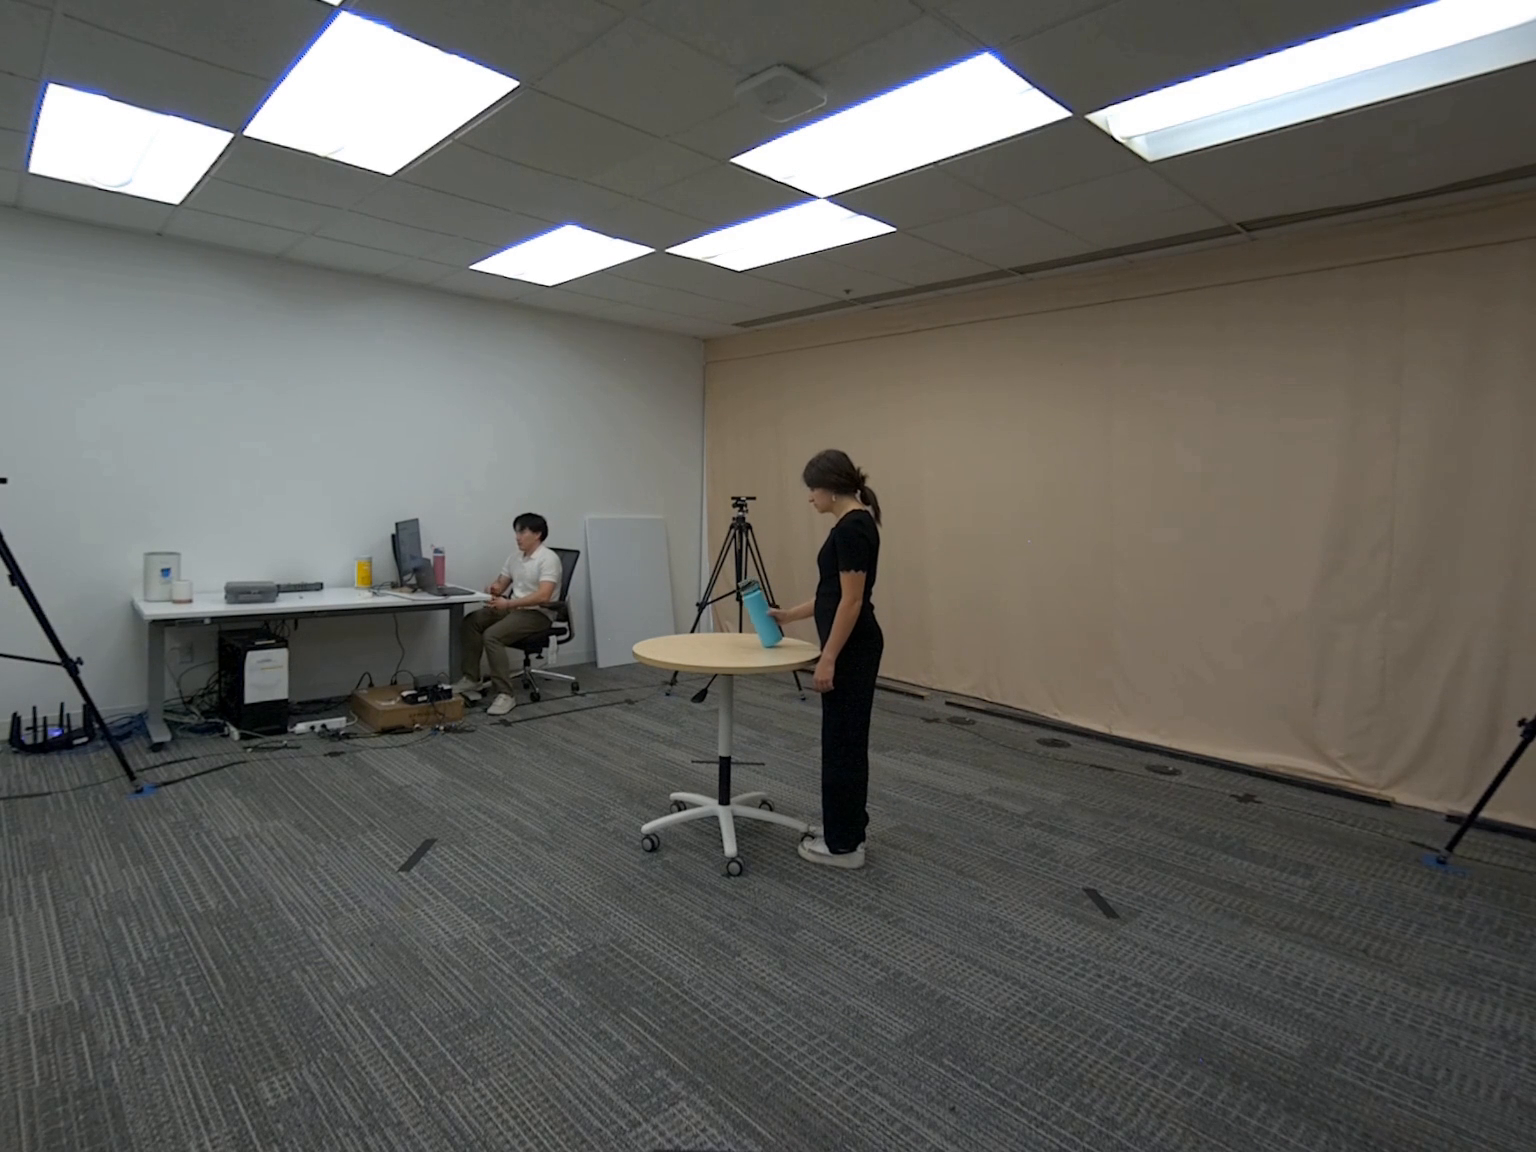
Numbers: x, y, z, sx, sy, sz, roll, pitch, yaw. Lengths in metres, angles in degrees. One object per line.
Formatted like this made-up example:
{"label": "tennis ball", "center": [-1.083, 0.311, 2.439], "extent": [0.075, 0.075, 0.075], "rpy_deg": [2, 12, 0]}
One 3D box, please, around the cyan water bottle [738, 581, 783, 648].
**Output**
{"label": "cyan water bottle", "center": [-0.037, 0.149, 3.455], "extent": [0.092, 0.282, 0.092], "rpy_deg": [-22, 4, 1]}
